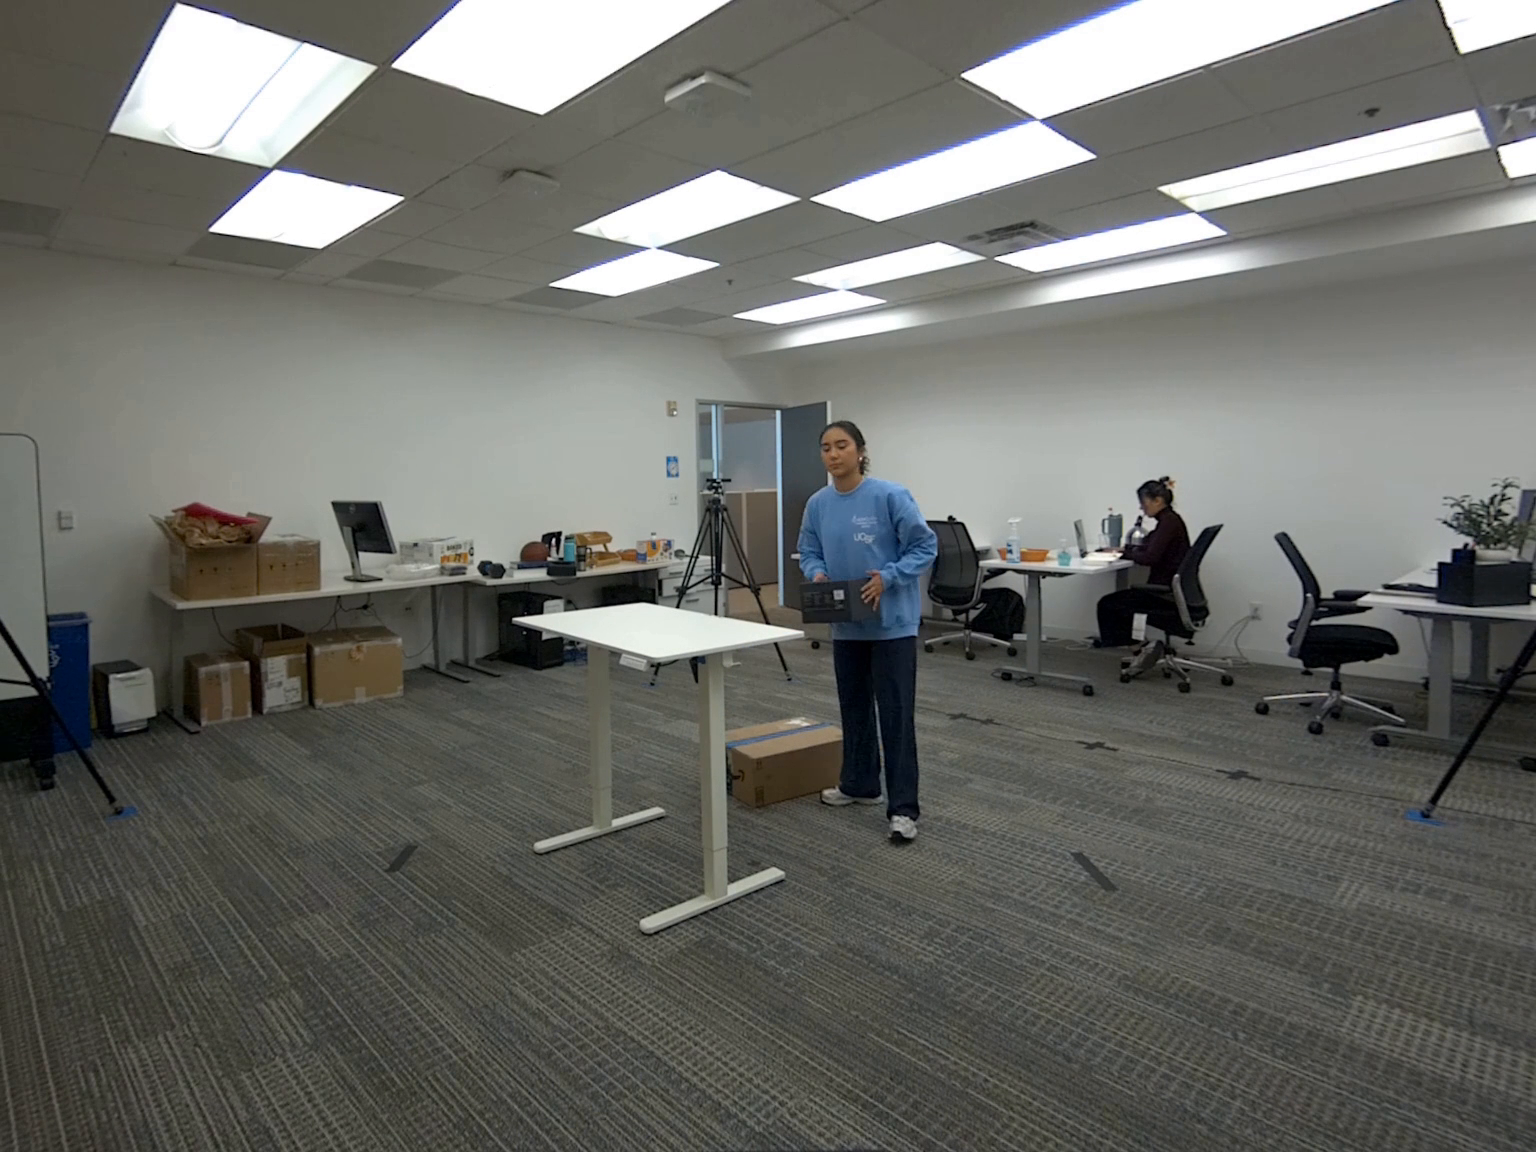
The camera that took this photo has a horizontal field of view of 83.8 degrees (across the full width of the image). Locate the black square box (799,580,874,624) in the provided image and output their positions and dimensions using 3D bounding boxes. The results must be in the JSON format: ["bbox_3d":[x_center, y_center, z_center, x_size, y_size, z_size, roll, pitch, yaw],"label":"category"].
[{"bbox_3d":[0.274,0.092,3.278,0.222,0.156,0.222,-5,-1,36],"label":"black square box"}]
